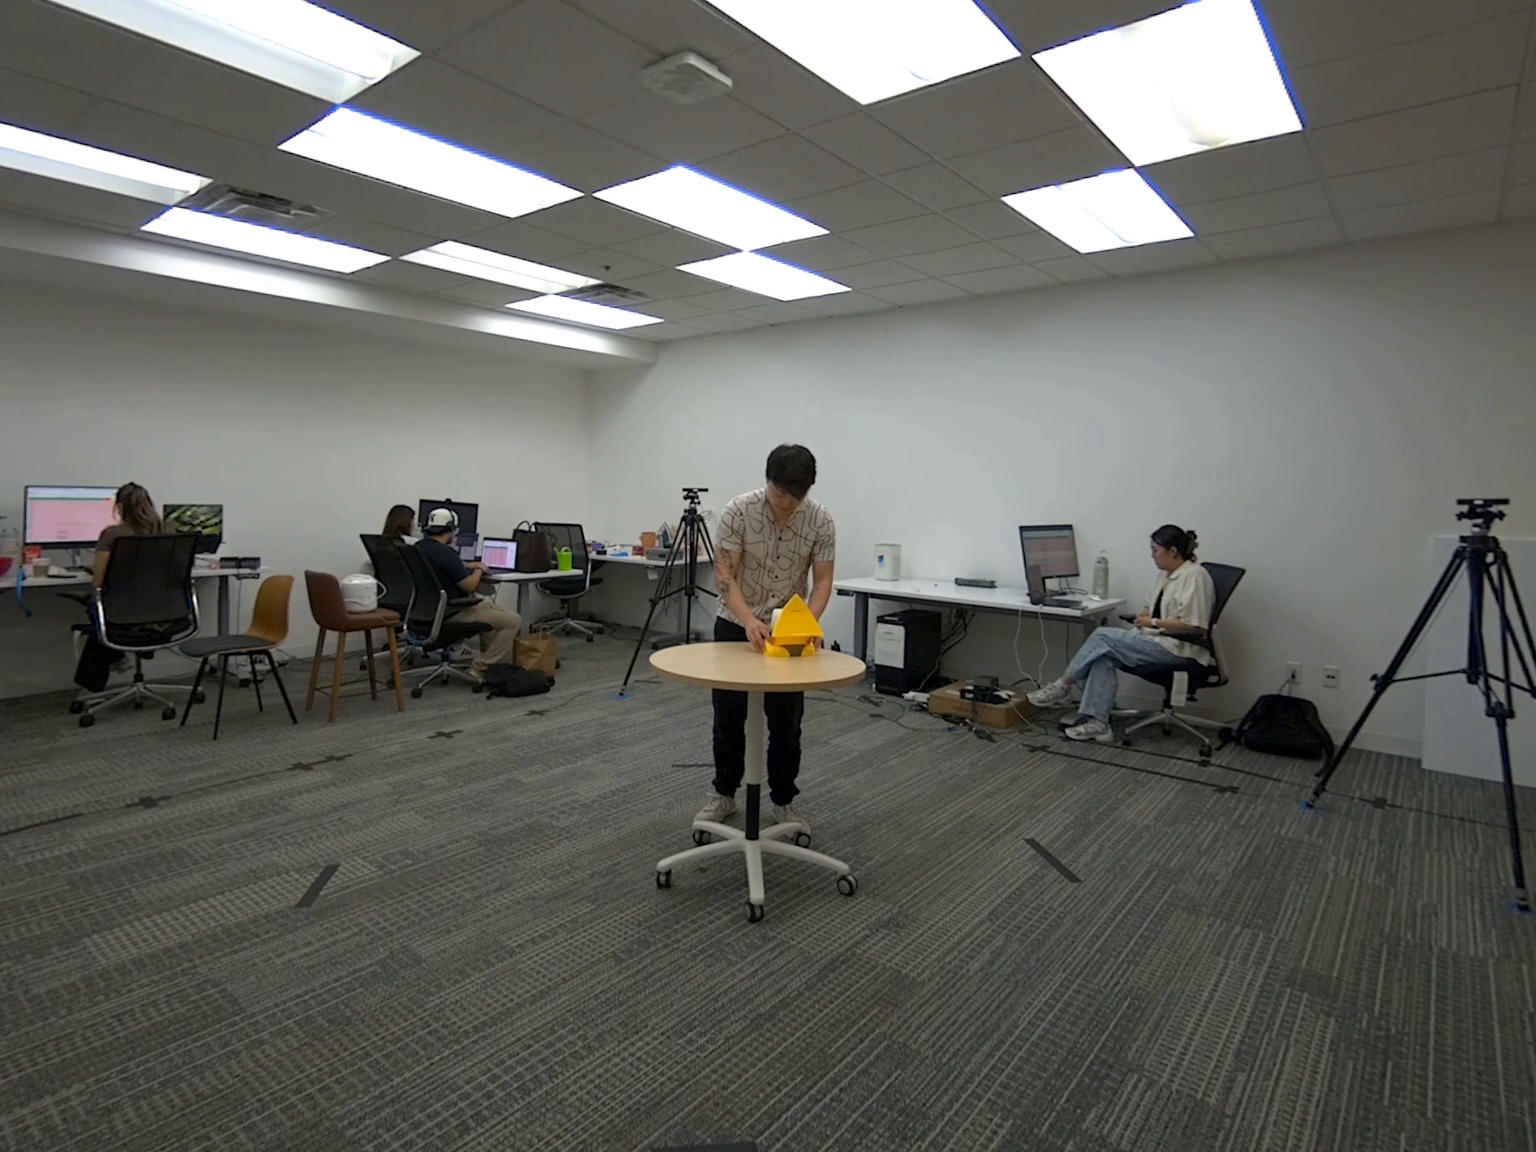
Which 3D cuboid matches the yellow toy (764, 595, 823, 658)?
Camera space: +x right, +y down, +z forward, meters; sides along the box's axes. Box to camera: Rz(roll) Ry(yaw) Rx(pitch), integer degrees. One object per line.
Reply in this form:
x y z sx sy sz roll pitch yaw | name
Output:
0.069 0.170 3.187 0.201 0.230 0.197 0 4 -20 | yellow toy
